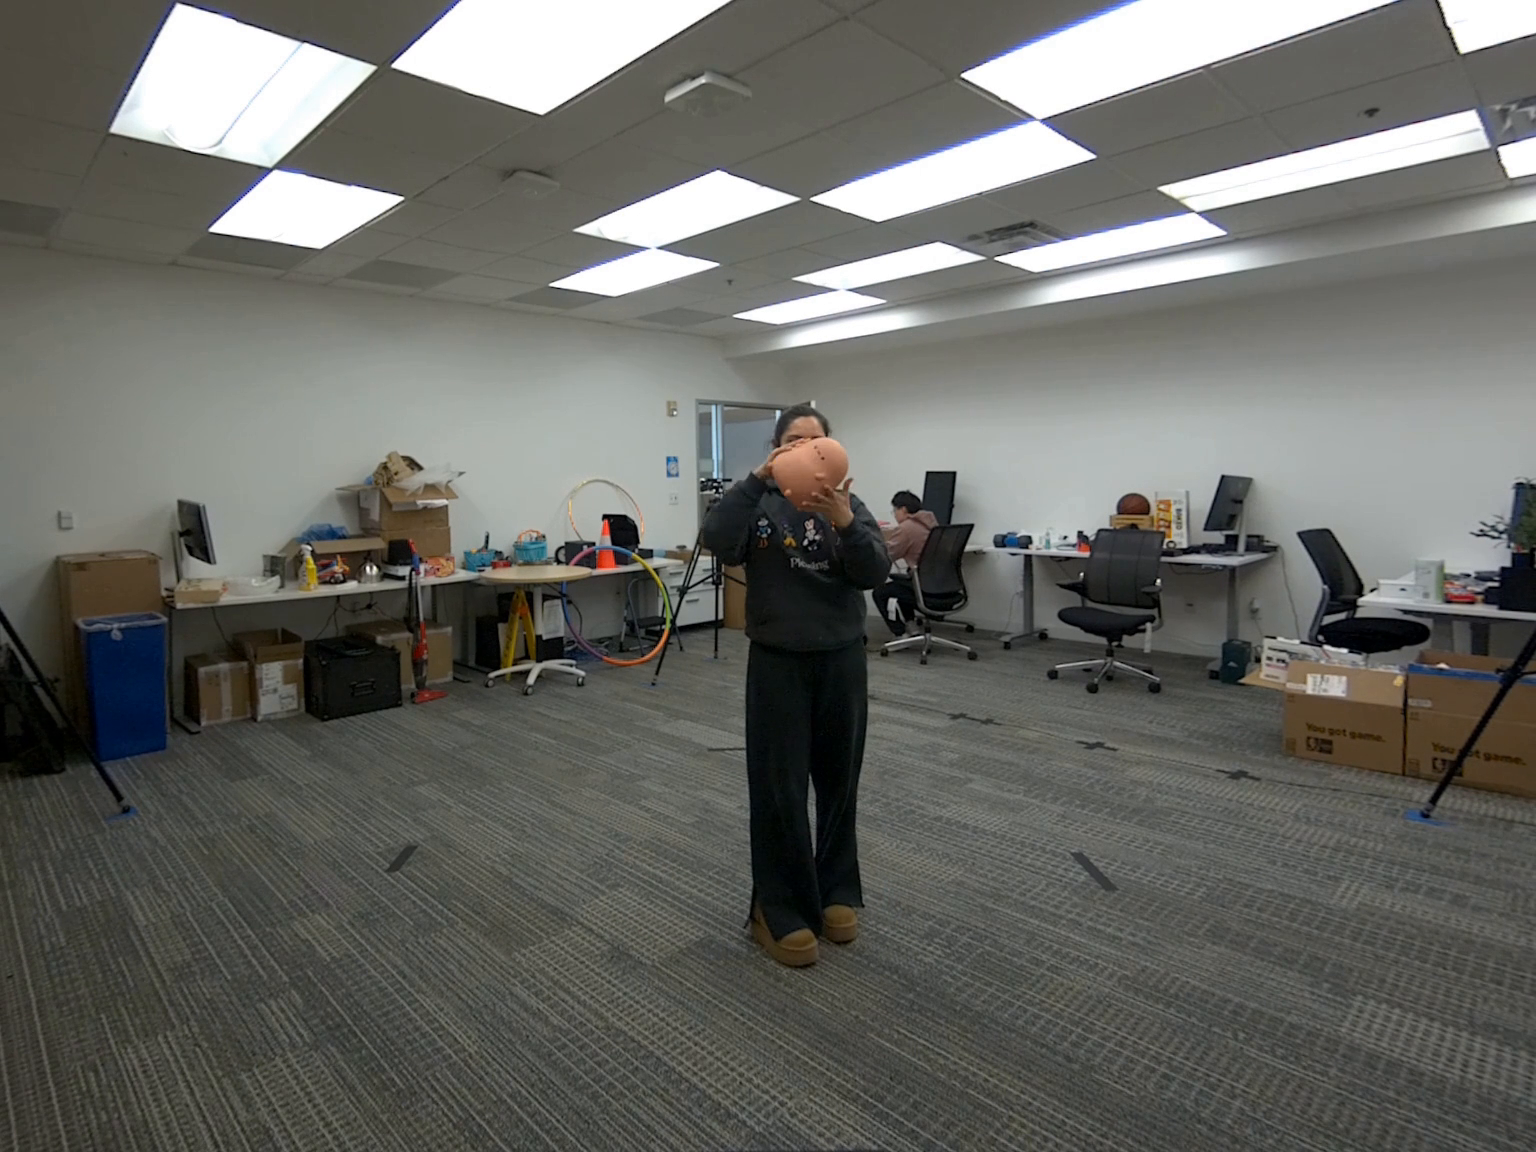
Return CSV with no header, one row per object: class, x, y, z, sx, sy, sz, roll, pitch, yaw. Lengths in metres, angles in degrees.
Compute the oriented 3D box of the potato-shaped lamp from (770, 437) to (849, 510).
potato-shaped lamp,0.110,-0.285,2.293,0.199,0.170,0.165,-35,-27,11
